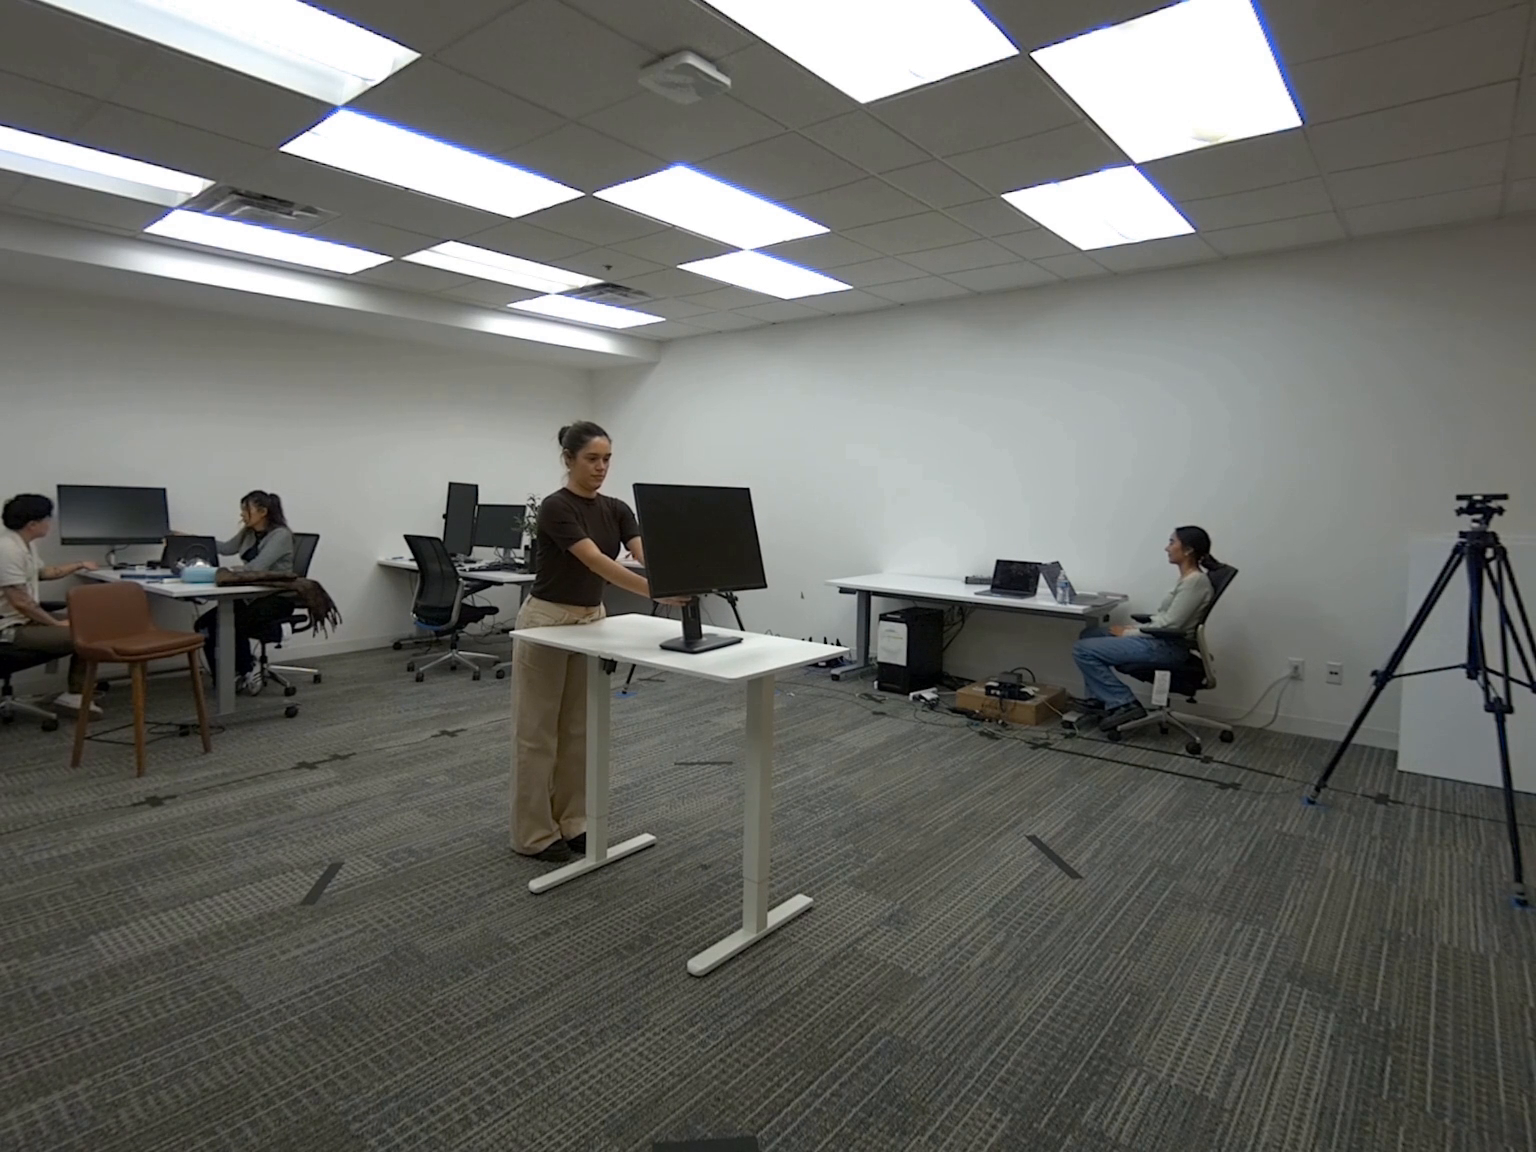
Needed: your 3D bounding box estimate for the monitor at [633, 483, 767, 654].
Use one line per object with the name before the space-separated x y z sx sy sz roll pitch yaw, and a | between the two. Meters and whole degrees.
monitor | -0.237 -0.031 2.736 0.193 0.522 0.523 0 2 37
